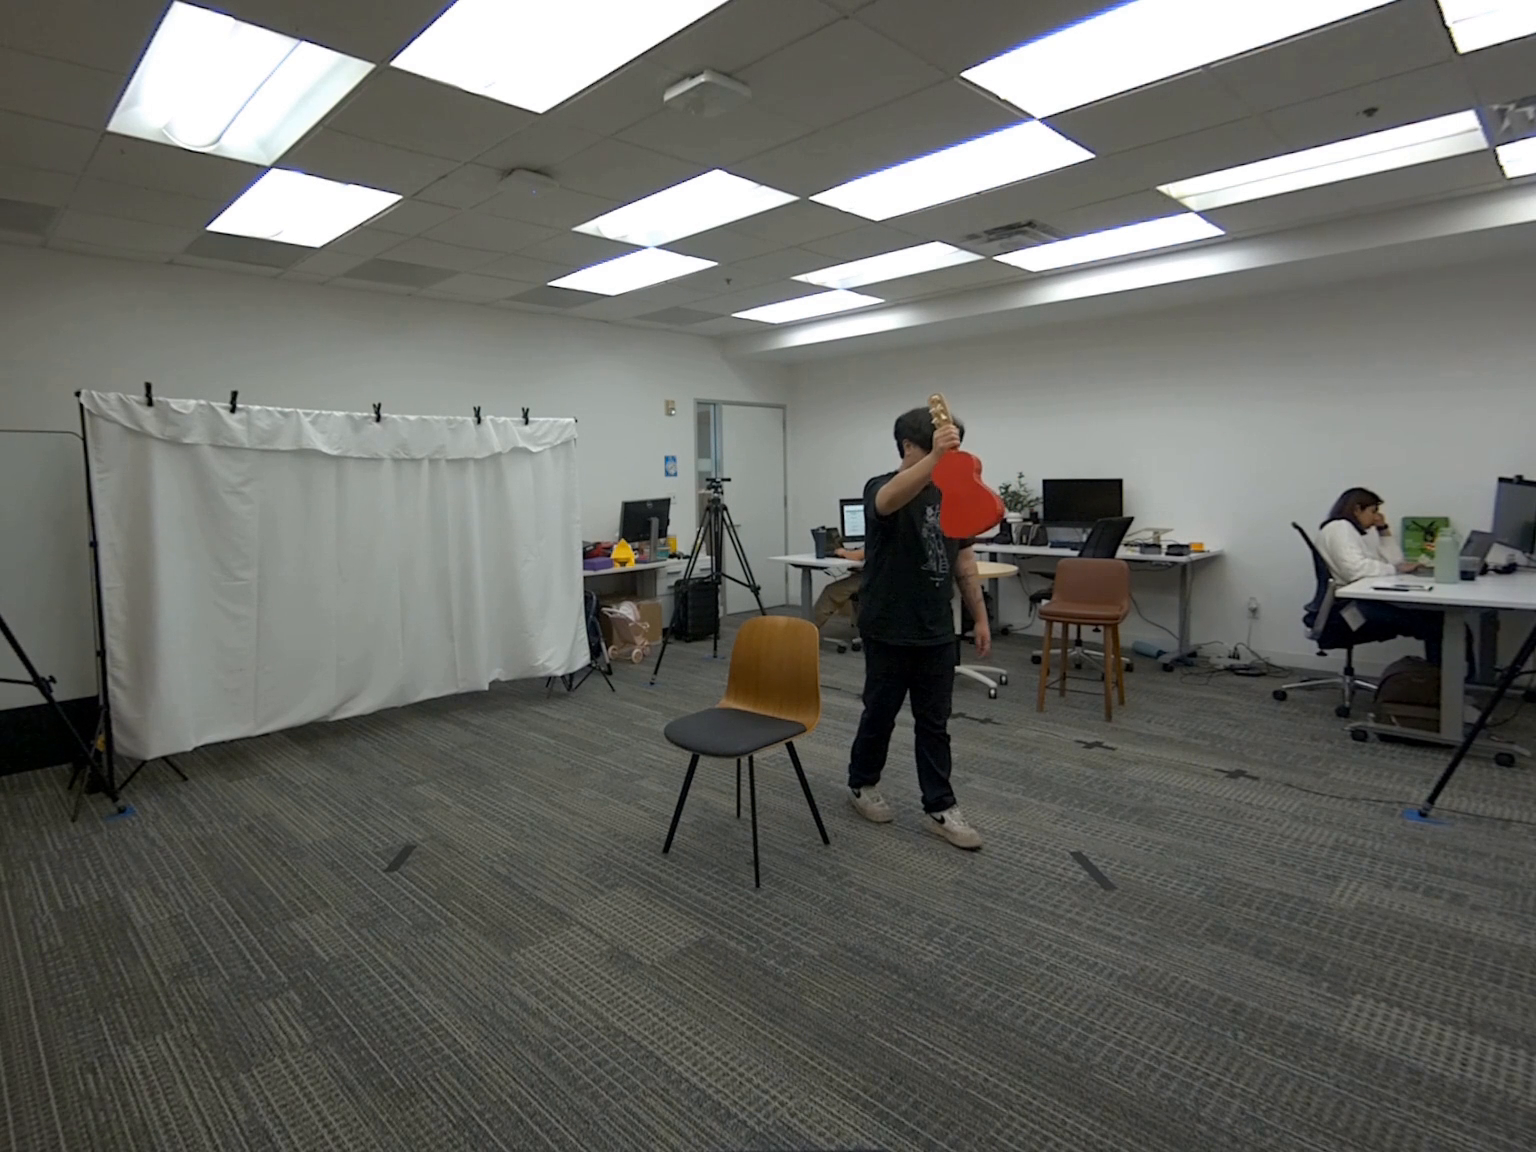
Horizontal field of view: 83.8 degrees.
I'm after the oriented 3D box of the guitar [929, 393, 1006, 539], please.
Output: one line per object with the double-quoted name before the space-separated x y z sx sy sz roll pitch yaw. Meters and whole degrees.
"guitar" 0.579 -0.348 2.738 0.194 0.511 0.068 -37 -28 32
